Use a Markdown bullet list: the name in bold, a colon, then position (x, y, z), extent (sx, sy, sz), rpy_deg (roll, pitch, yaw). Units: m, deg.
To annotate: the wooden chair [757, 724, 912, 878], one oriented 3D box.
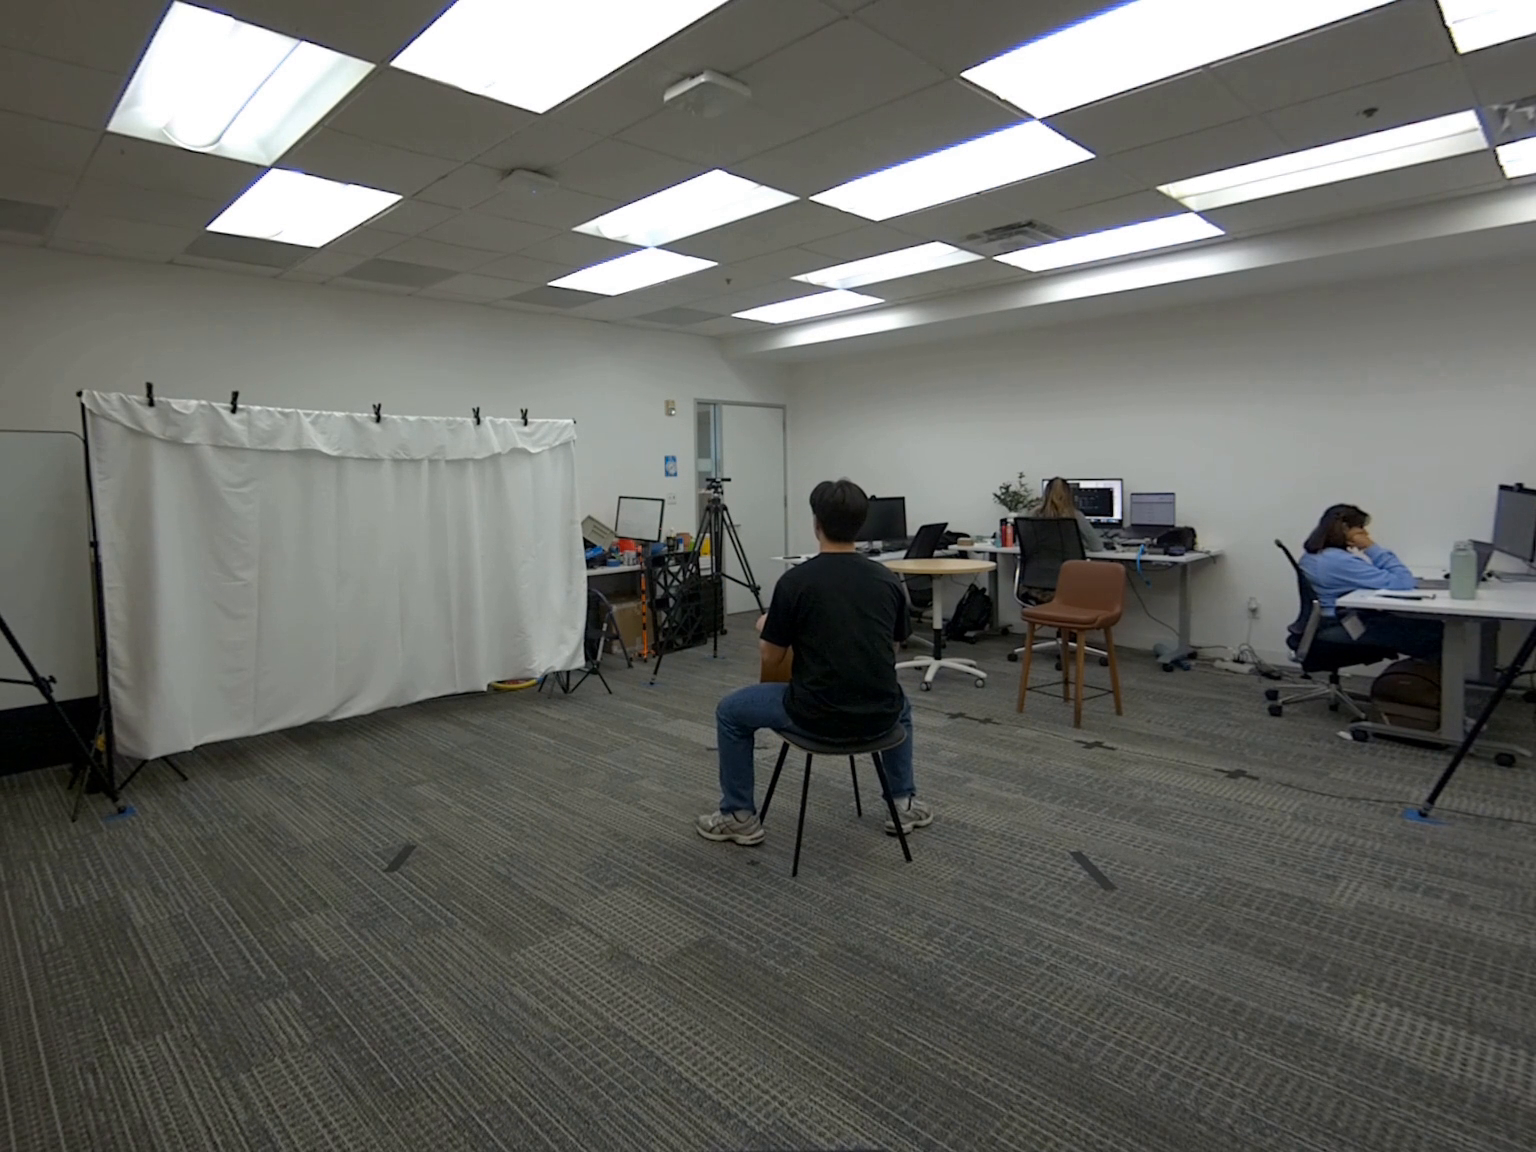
- **wooden chair**: position (0.235, 0.600, 3.217), extent (0.471, 0.877, 0.531), rpy_deg (-1, 1, -16)
